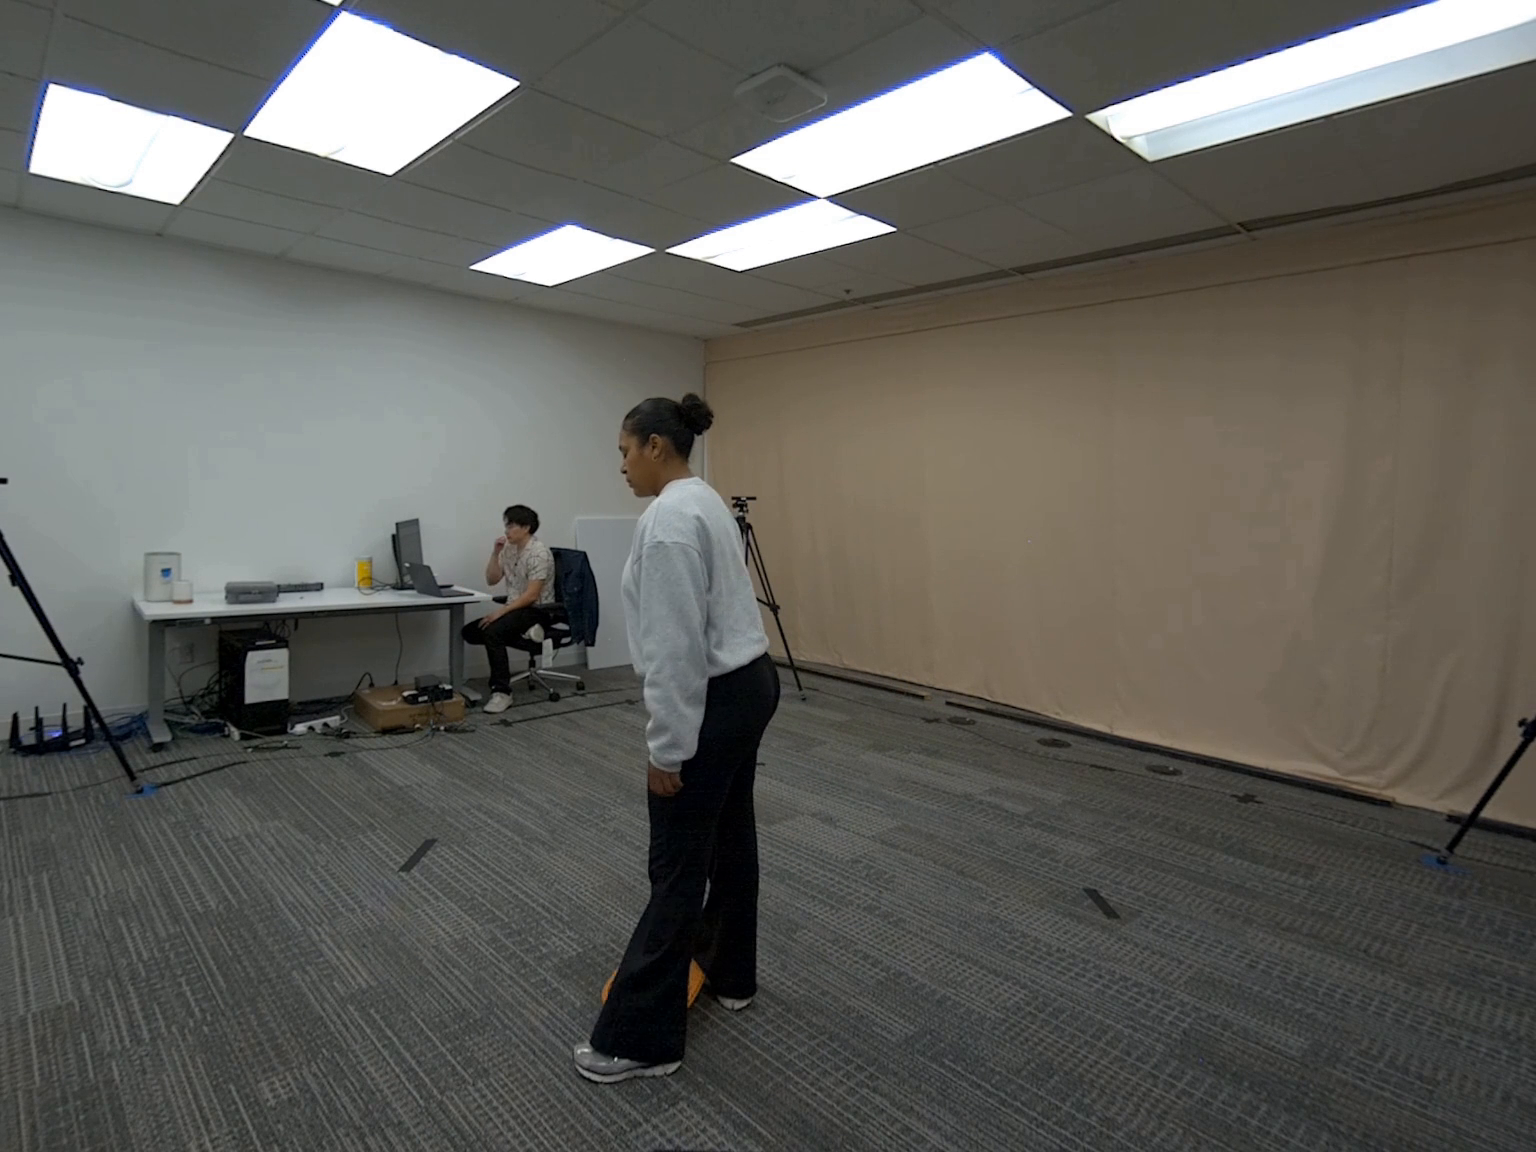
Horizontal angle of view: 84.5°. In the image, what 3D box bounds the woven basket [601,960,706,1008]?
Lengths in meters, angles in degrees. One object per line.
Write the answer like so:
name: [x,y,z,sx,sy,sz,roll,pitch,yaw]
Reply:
woven basket: [-0.310,1.143,2.295,0.256,0.073,0.346,3,5,18]
